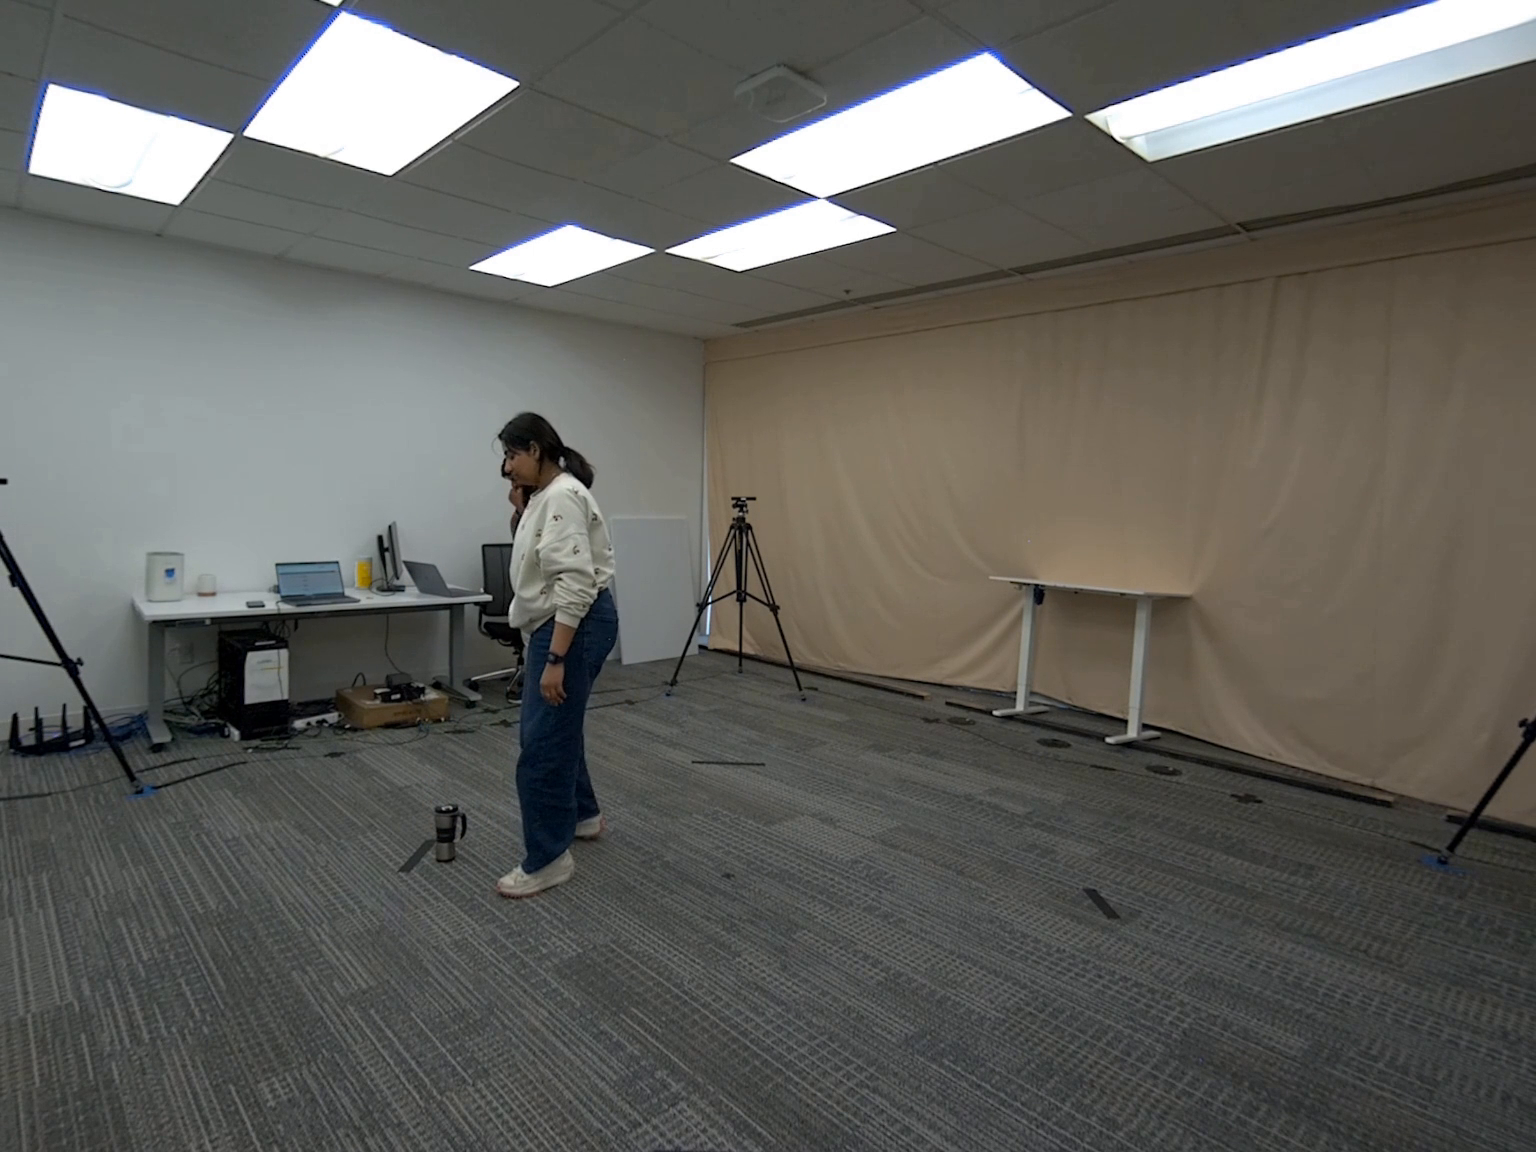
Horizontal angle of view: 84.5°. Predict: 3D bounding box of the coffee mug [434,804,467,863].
[{"bbox_3d":[-1.218,0.980,3.173,0.086,0.203,0.125,4,-3,-41],"label":"coffee mug"}]
